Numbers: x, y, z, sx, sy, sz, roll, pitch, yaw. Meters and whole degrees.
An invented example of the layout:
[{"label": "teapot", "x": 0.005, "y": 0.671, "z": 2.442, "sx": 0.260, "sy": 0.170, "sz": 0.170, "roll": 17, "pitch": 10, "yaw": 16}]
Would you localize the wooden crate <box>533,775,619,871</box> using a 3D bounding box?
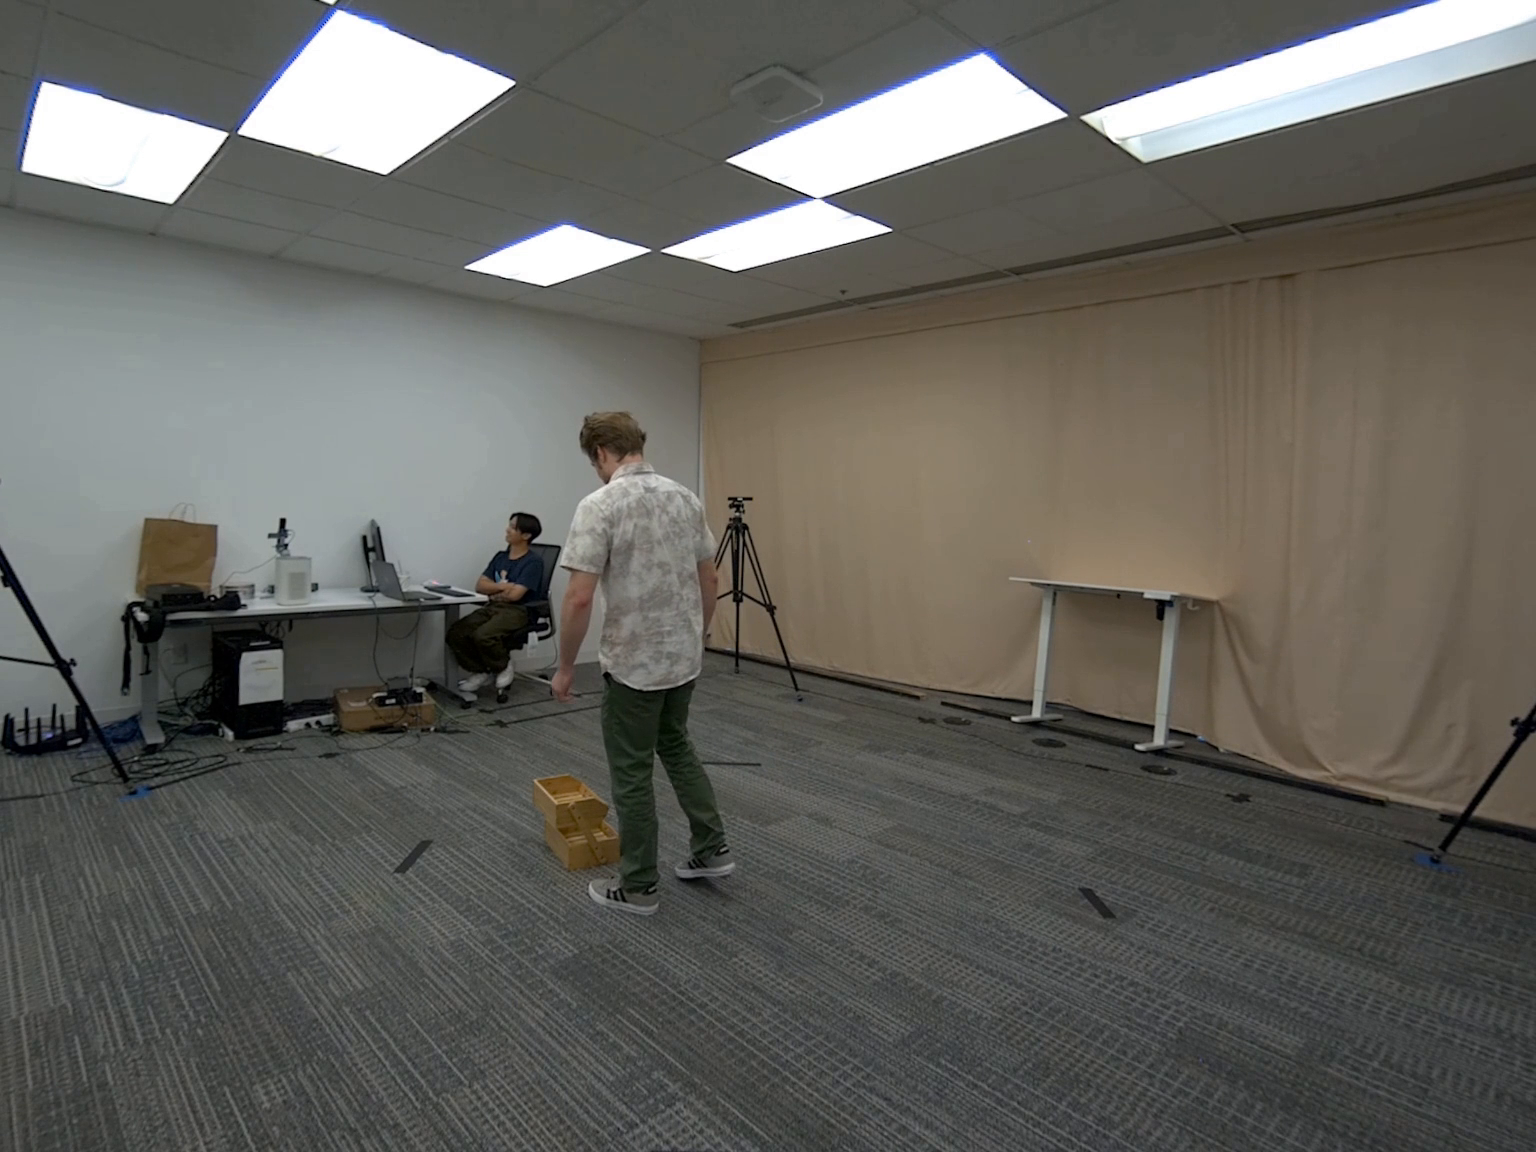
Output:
[{"label": "wooden crate", "x": -0.739, "y": 0.944, "z": 3.290, "sx": 0.296, "sy": 0.272, "sz": 0.332, "roll": -2, "pitch": 6, "yaw": -31}]
